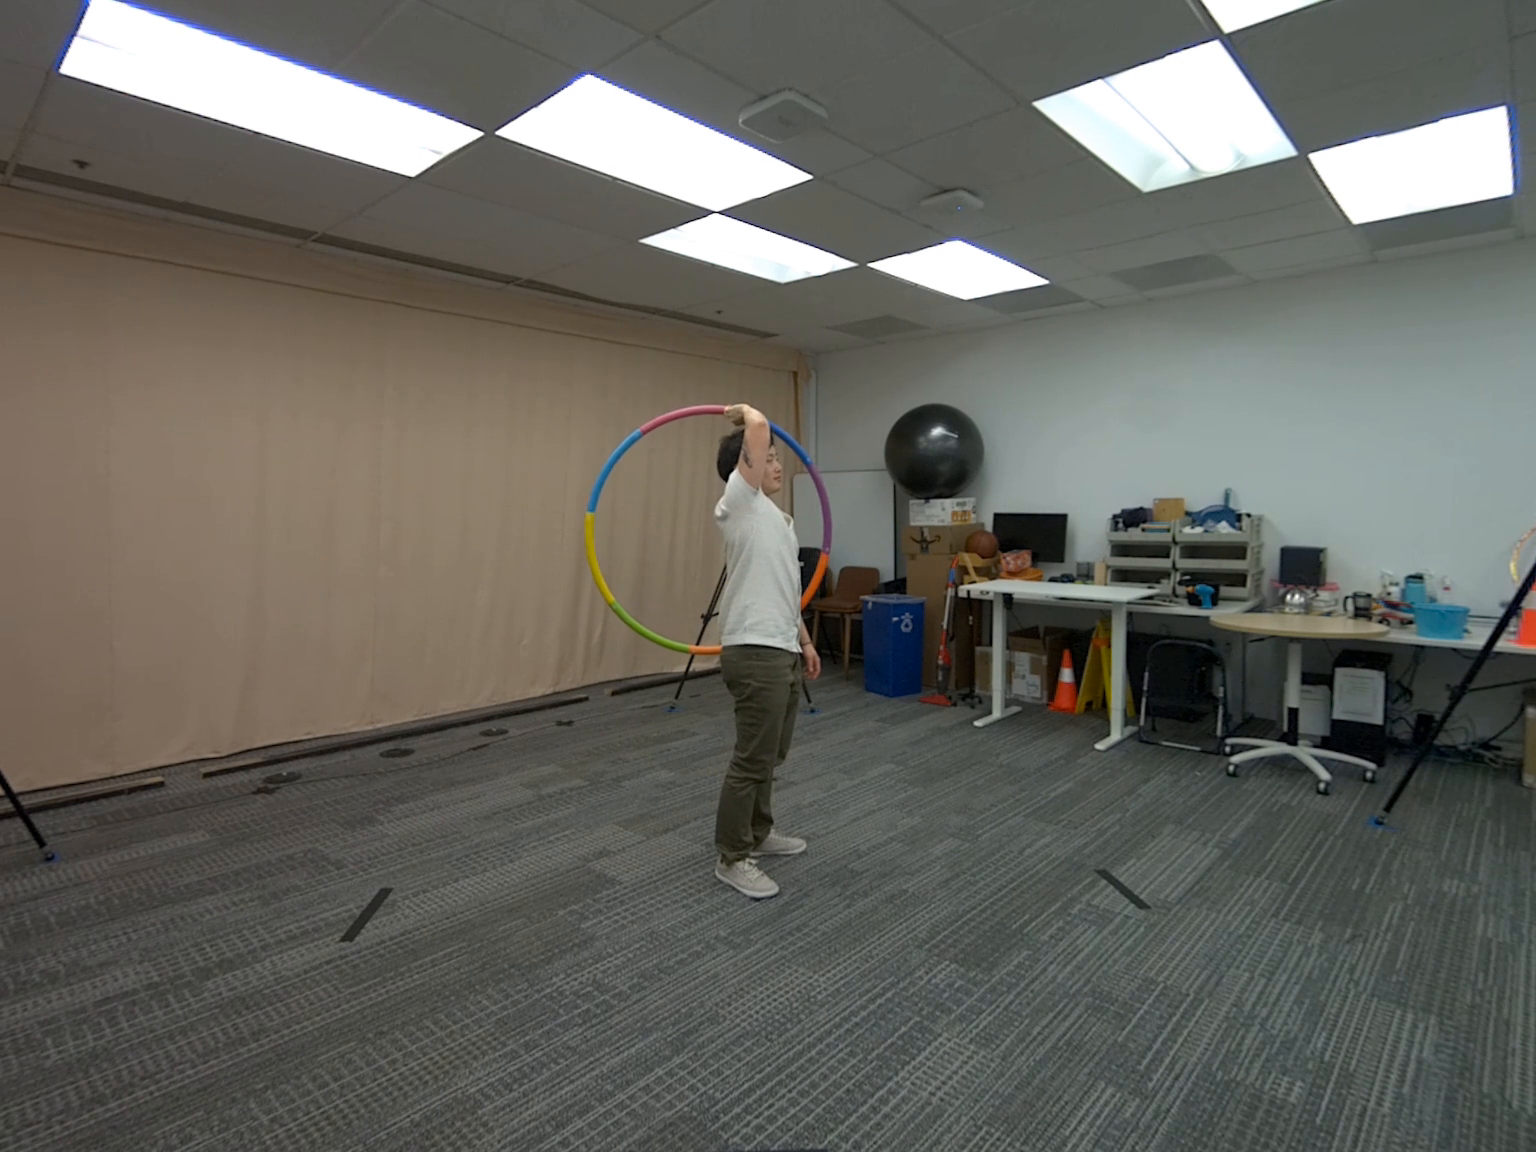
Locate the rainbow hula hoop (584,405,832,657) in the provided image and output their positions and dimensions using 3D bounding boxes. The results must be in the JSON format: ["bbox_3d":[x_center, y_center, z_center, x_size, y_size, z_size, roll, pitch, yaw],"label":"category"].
[{"bbox_3d":[-0.219,-0.172,3.336,0.973,0.972,0.036,0,10,-5],"label":"rainbow hula hoop"}]
